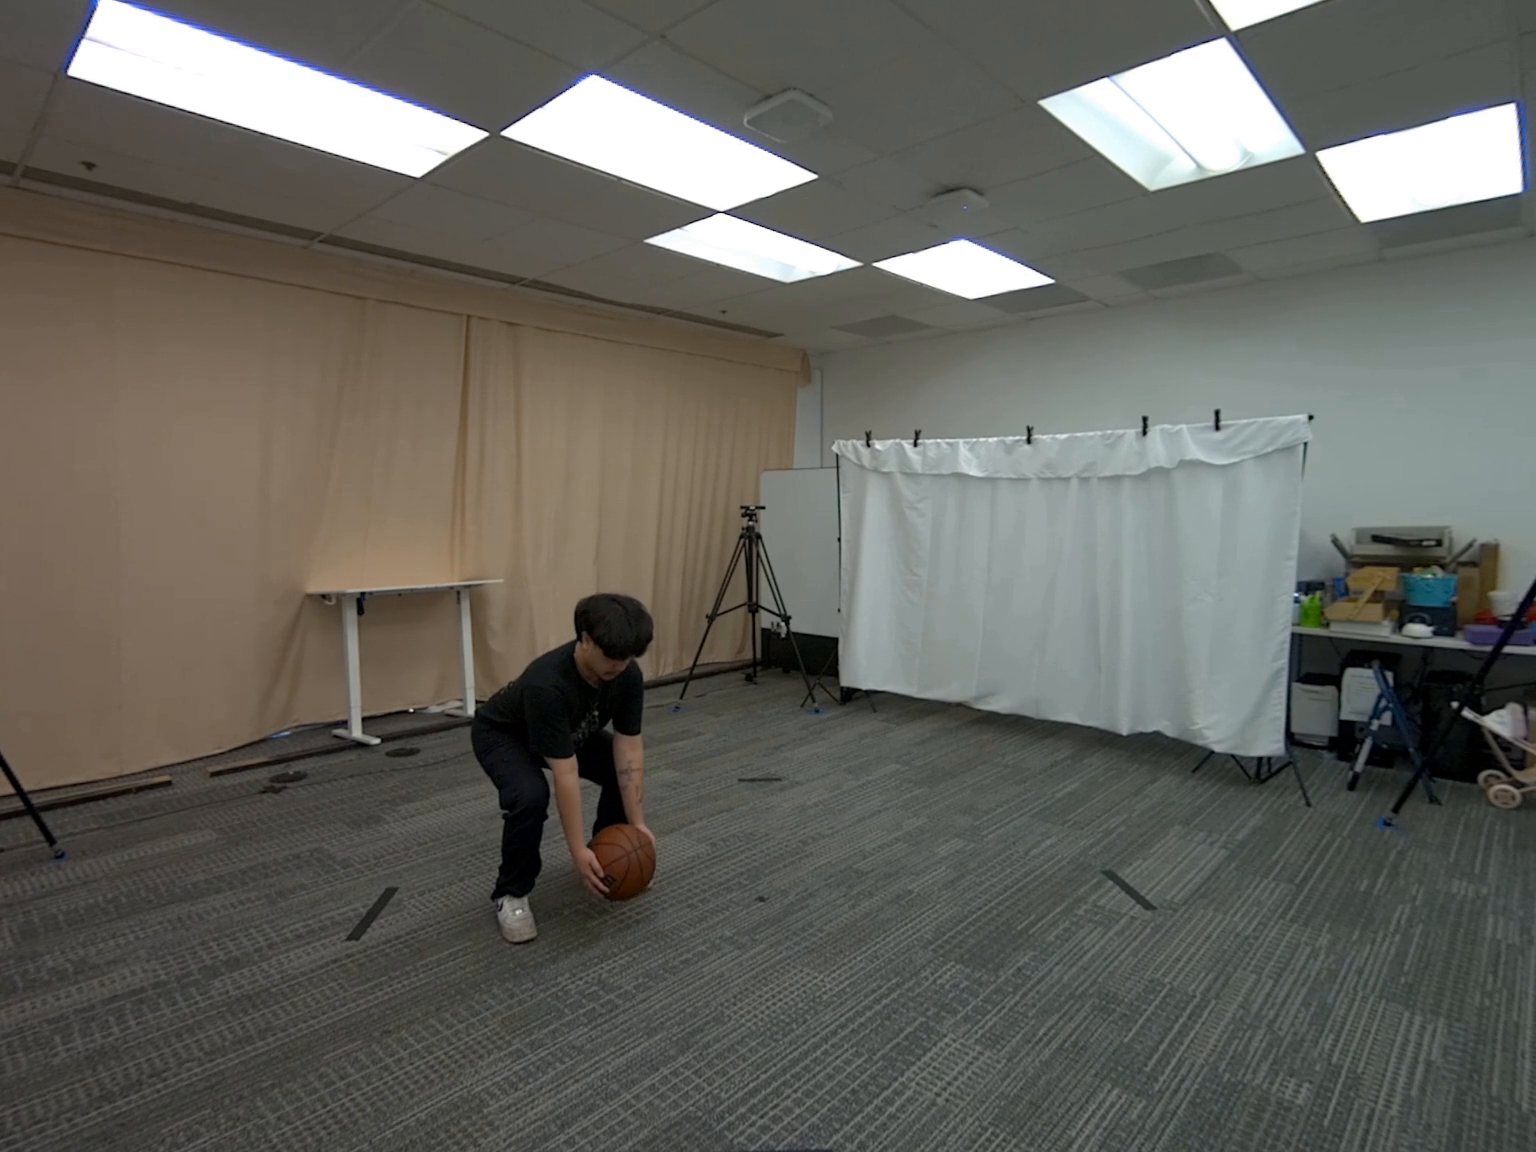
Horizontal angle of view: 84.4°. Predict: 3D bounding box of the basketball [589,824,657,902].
[{"bbox_3d":[-0.492,0.942,2.758,0.236,0.235,0.237,0,4,-2],"label":"basketball"}]
